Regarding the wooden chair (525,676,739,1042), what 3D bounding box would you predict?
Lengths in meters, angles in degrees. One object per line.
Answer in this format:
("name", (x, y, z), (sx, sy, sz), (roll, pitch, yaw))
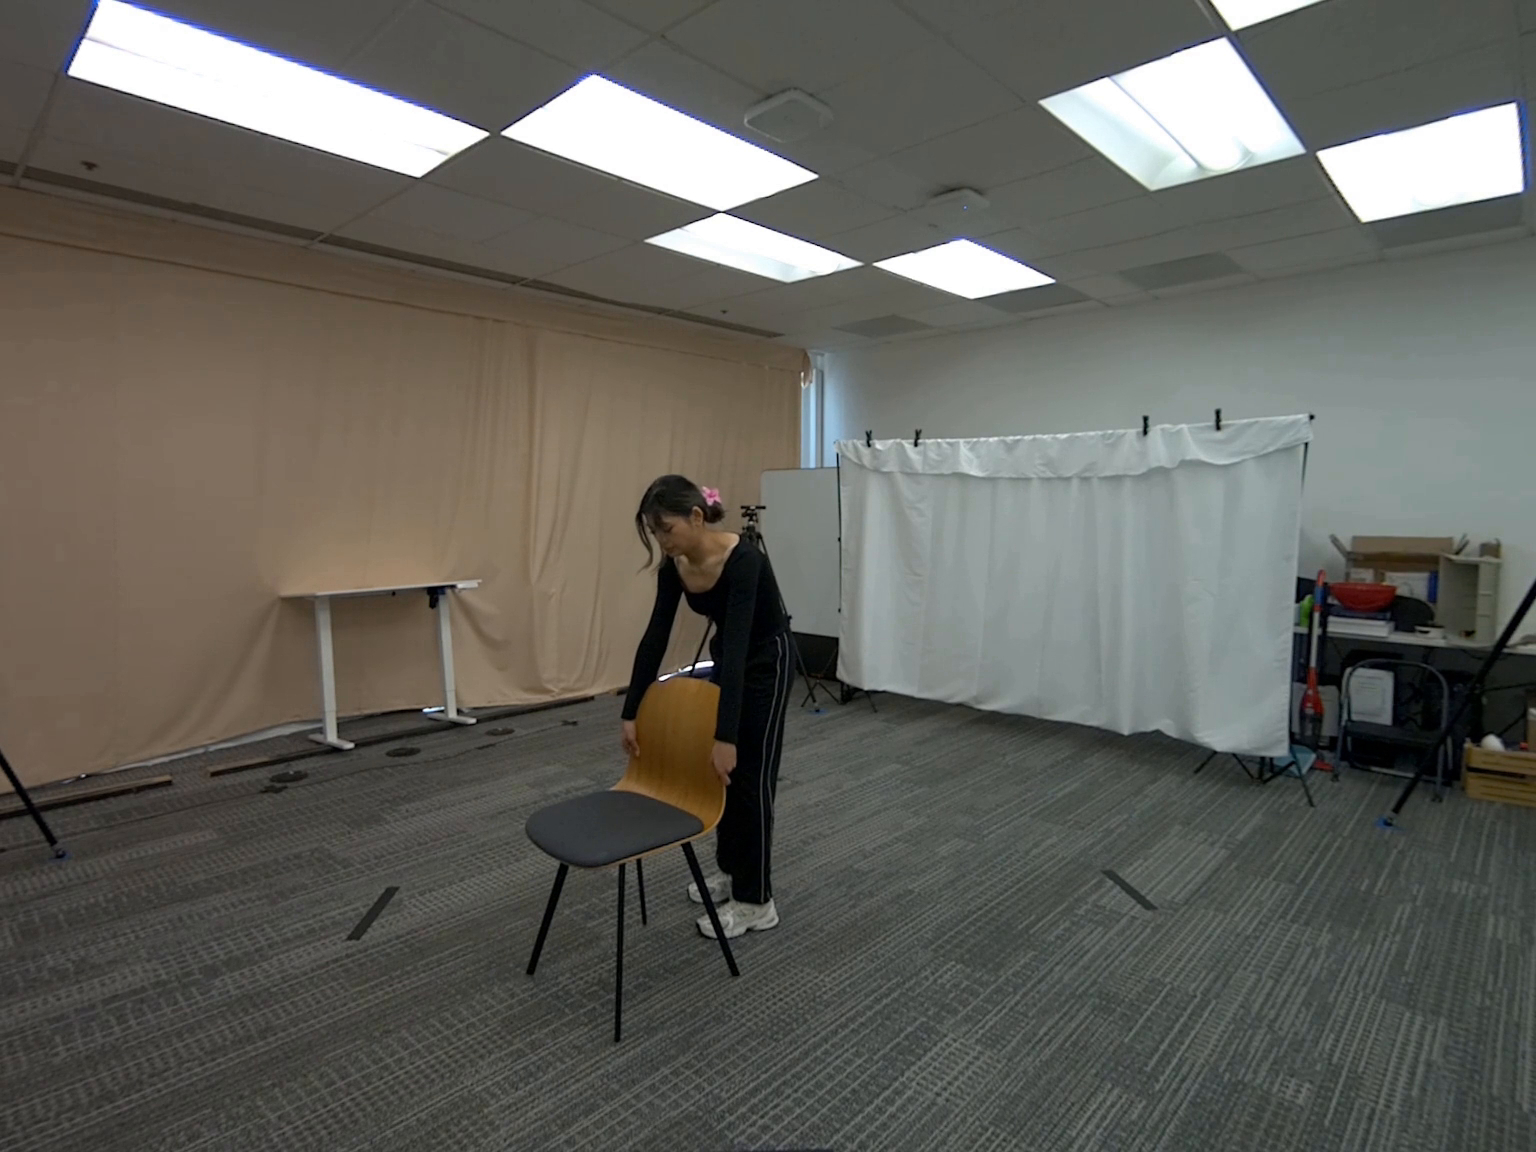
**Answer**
("wooden chair", (-0.402, 0.763, 2.467), (0.506, 0.877, 0.494), (3, 0, -45))
